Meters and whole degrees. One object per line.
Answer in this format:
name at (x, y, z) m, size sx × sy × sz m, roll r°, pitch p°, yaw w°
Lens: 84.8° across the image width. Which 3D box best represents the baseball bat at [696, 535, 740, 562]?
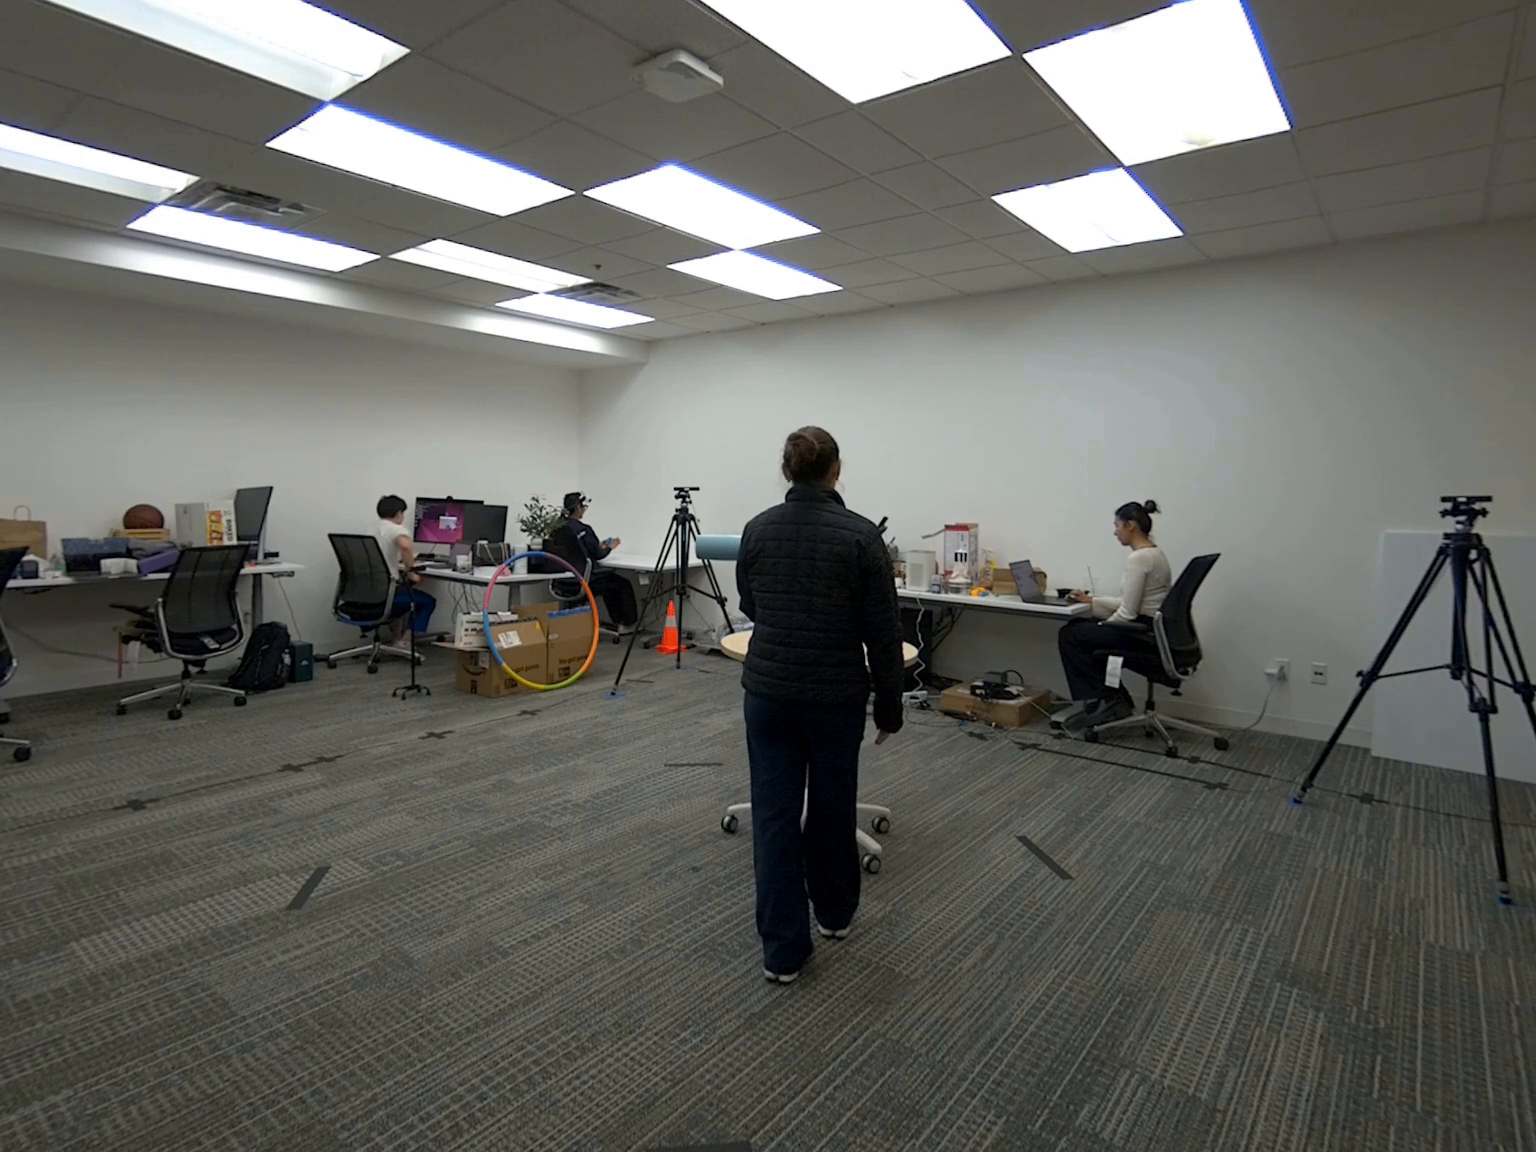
baseball bat at (0.054, -0.092, 2.903) m, size 0.546 × 0.089 × 0.089 m, roll 2°, pitch 4°, yaw 4°
